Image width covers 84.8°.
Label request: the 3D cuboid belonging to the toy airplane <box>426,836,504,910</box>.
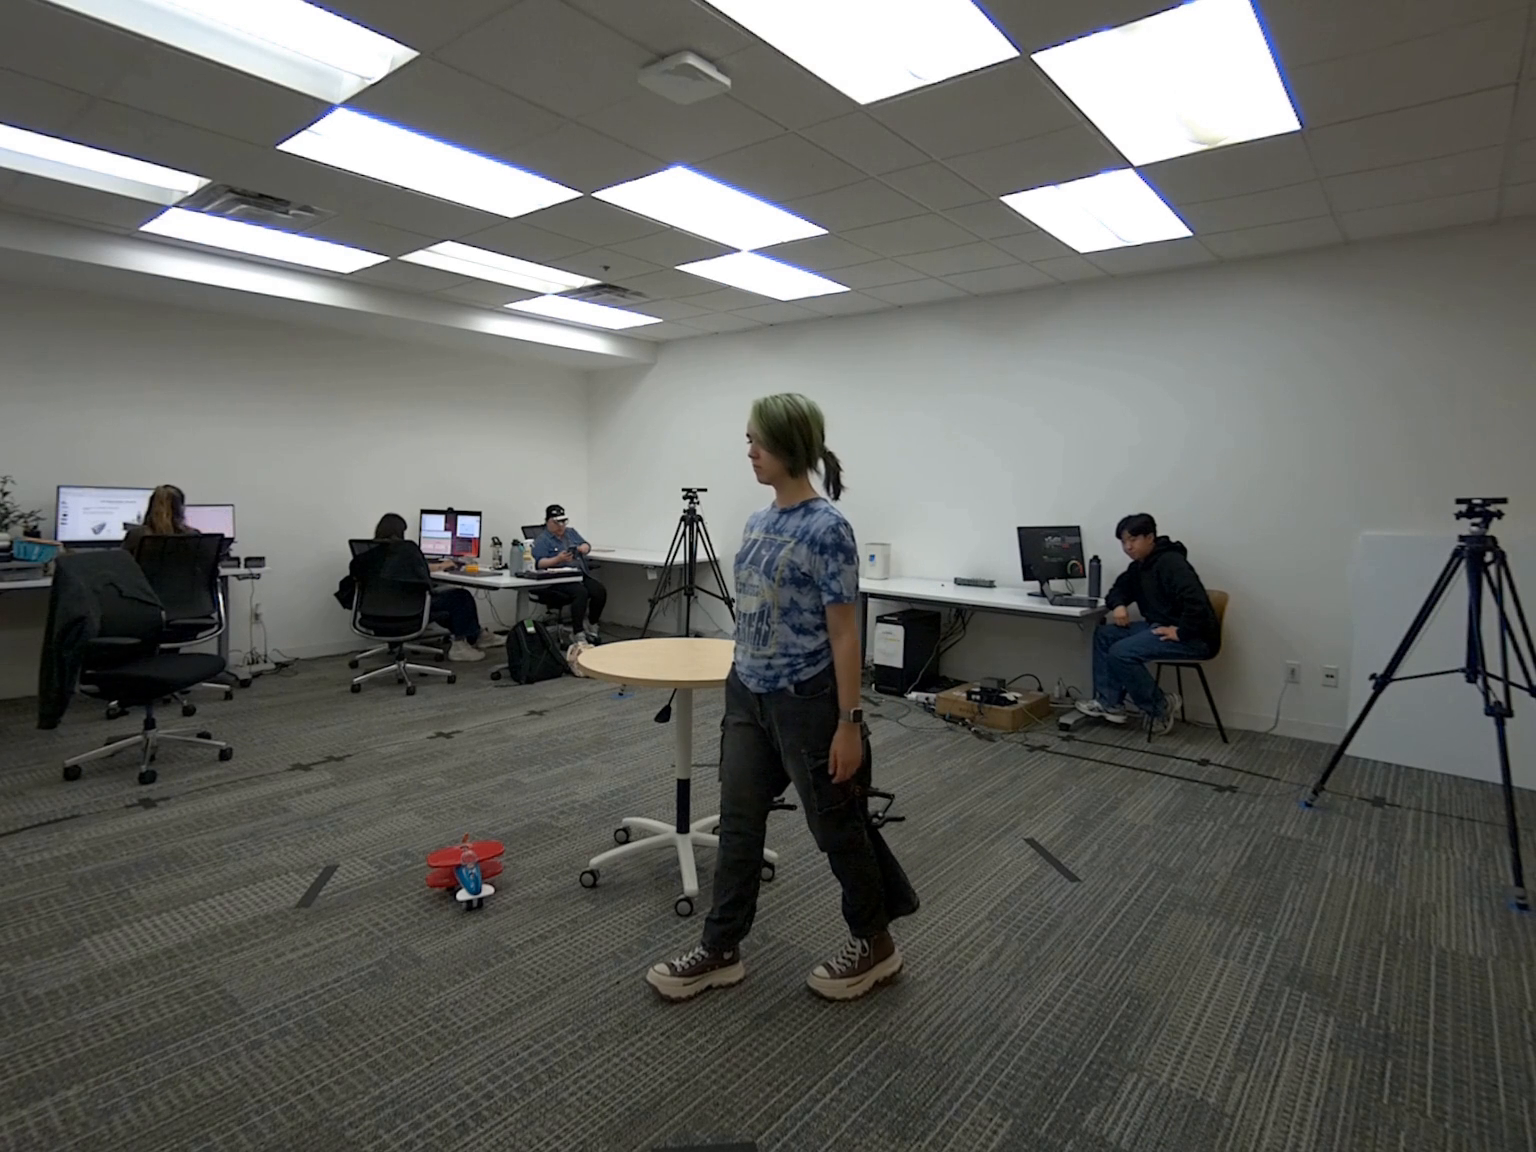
[{"bbox_3d":[-1.011,1.006,2.881,0.267,0.156,0.245,2,5,31],"label":"toy airplane"}]
